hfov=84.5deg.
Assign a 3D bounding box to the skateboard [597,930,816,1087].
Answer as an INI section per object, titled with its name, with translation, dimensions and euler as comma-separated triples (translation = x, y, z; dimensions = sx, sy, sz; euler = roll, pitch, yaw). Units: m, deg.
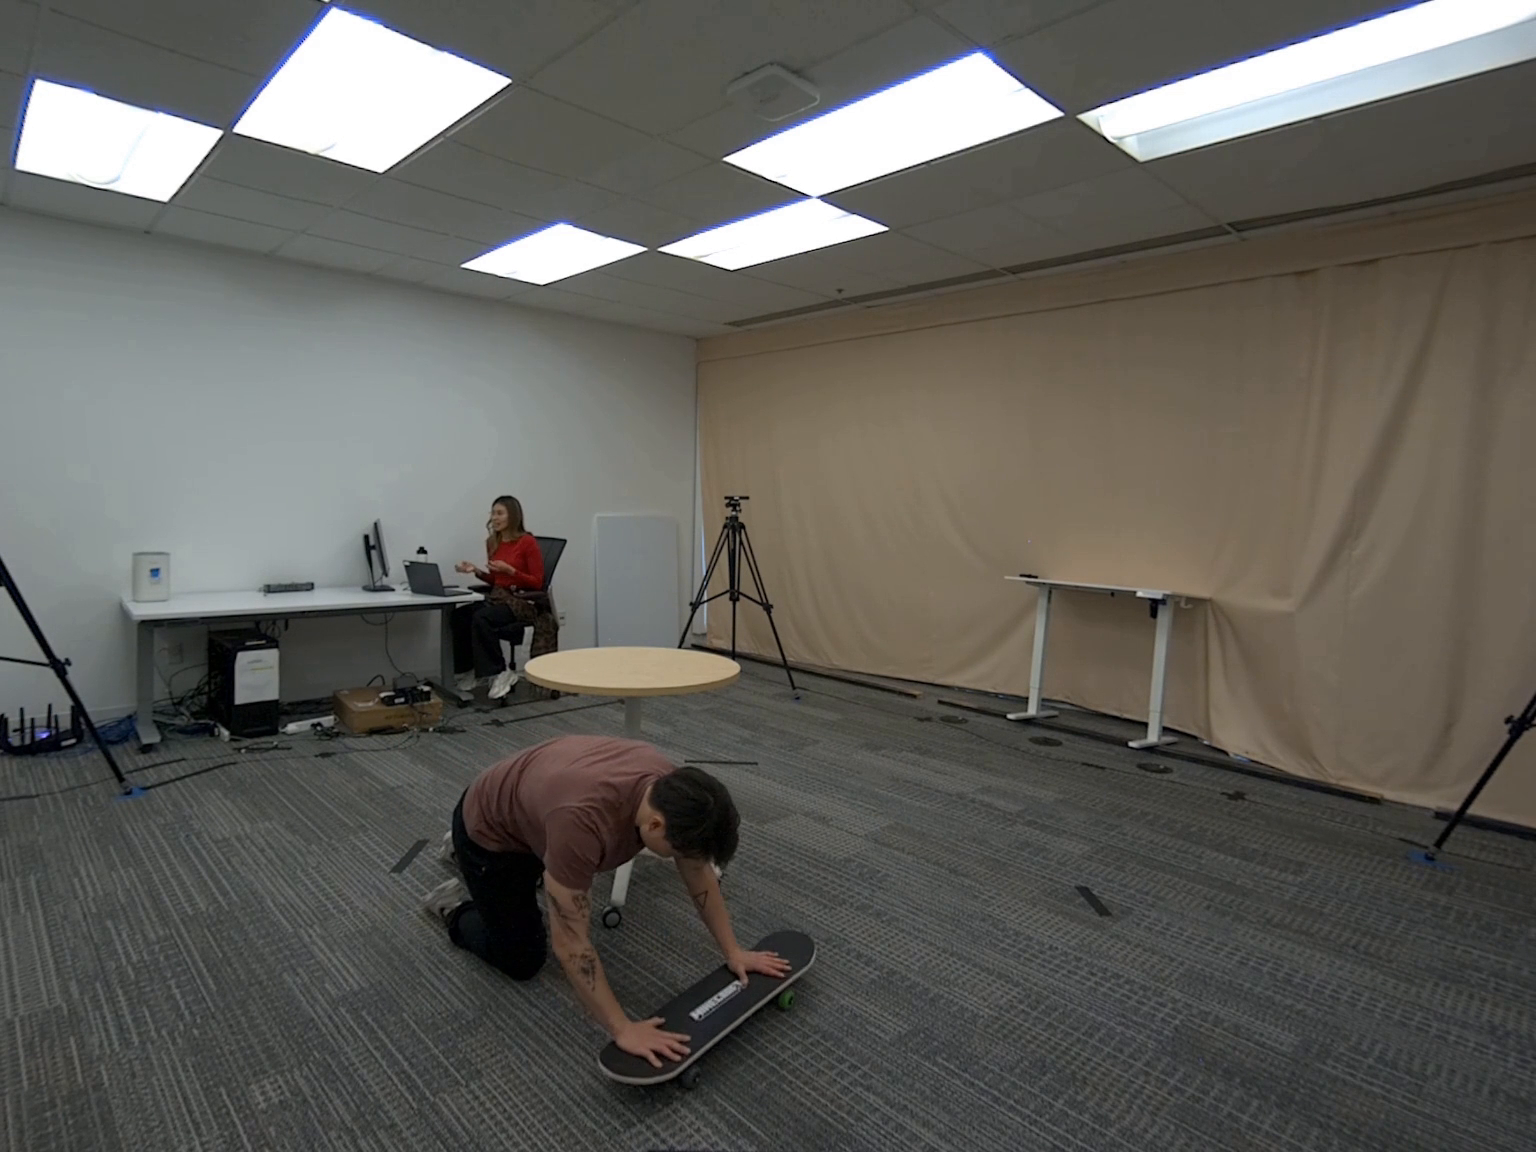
[skateboard]
translation = -0.128, 1.133, 2.191
dimensions = 0.198, 0.110, 0.768
euler = 5, 7, 37
